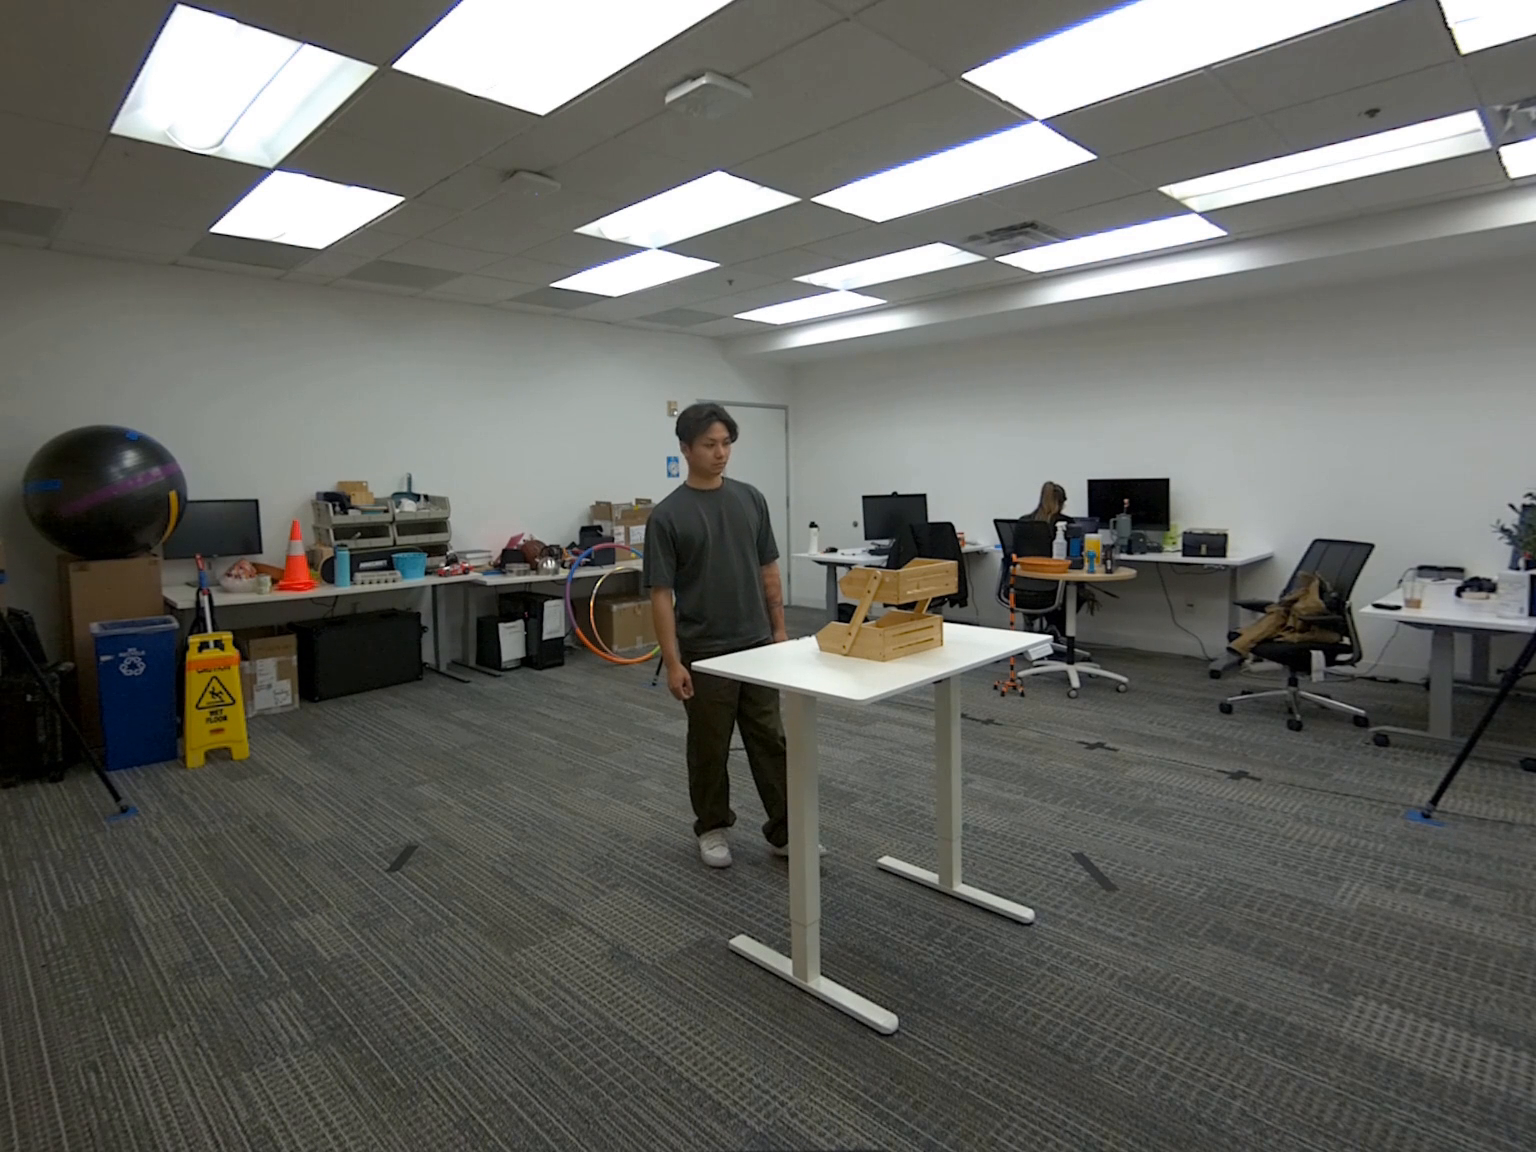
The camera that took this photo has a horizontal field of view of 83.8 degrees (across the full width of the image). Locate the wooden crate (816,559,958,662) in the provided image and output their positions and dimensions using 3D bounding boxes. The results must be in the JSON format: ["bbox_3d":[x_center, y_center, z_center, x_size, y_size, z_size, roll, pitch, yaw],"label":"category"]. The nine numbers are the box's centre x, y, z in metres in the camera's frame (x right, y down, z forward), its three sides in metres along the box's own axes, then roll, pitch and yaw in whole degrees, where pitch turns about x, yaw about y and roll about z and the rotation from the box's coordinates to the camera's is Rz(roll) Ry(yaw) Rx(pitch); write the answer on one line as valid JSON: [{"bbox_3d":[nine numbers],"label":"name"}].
[{"bbox_3d":[0.355,0.086,2.544,0.316,0.272,0.311,-7,8,-44],"label":"wooden crate"}]
